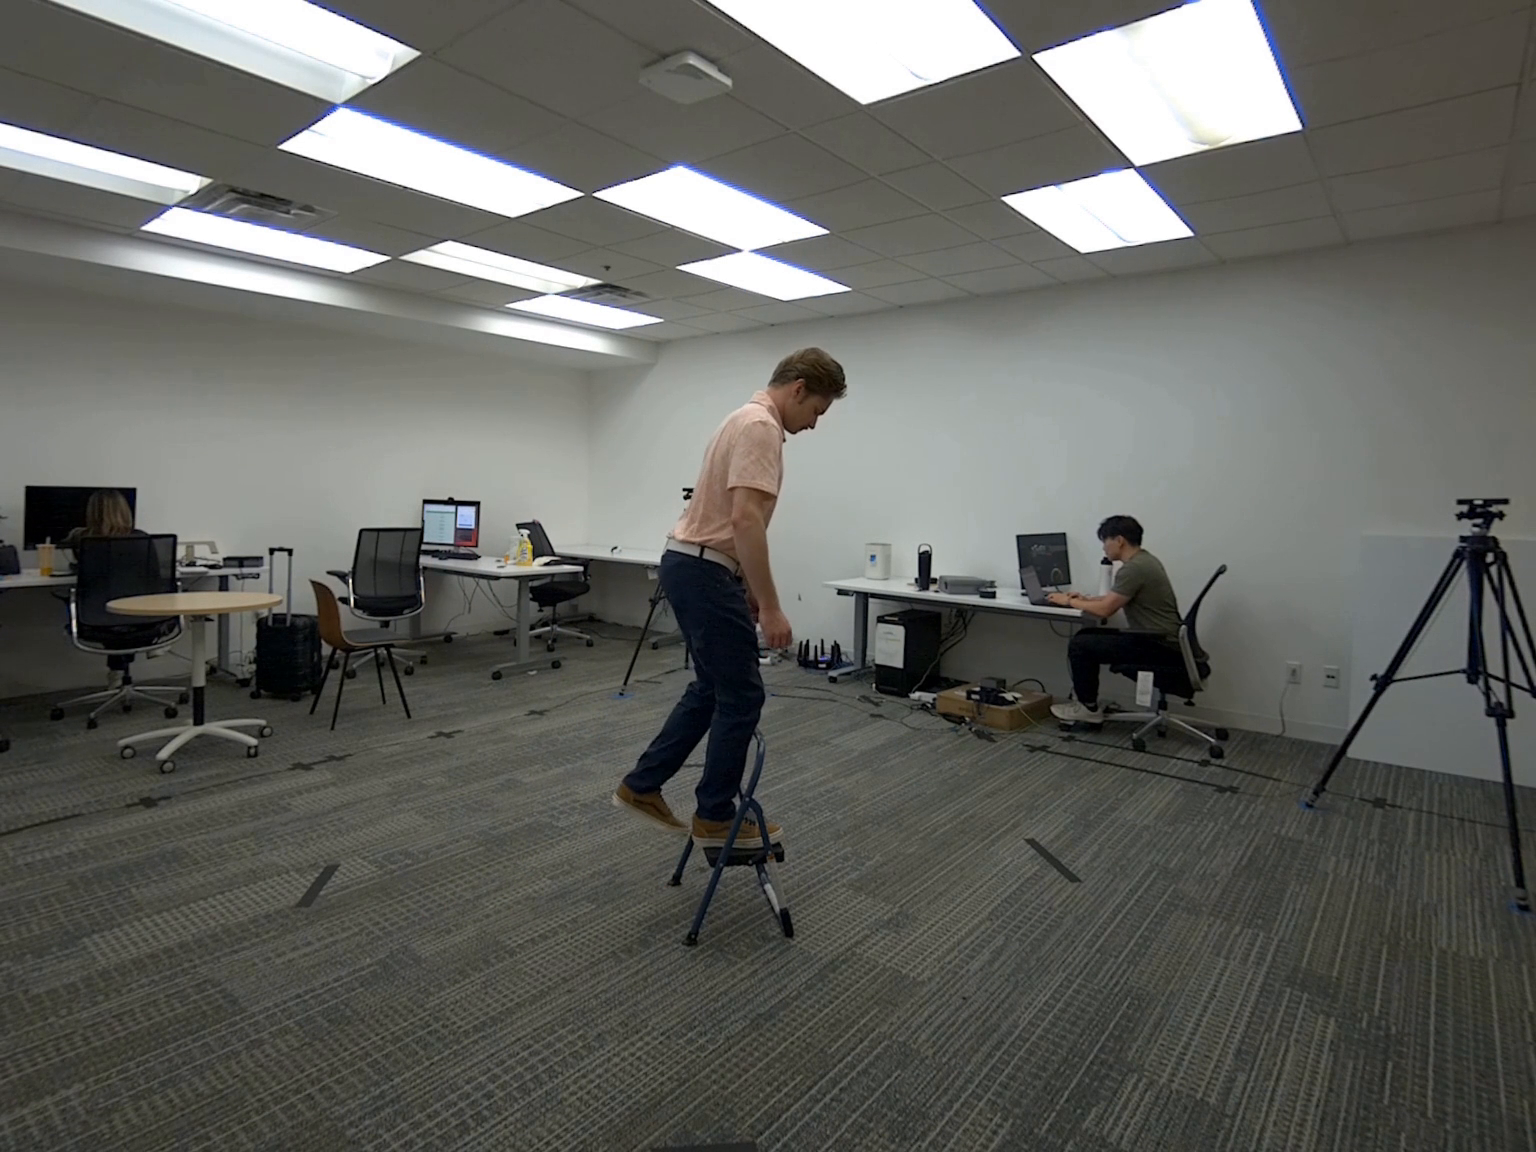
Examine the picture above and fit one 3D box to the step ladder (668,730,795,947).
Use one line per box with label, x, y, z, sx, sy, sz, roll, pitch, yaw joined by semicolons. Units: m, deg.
step ladder;-0.131;0.803;2.804;0.345;0.605;0.437;0;3;-12
